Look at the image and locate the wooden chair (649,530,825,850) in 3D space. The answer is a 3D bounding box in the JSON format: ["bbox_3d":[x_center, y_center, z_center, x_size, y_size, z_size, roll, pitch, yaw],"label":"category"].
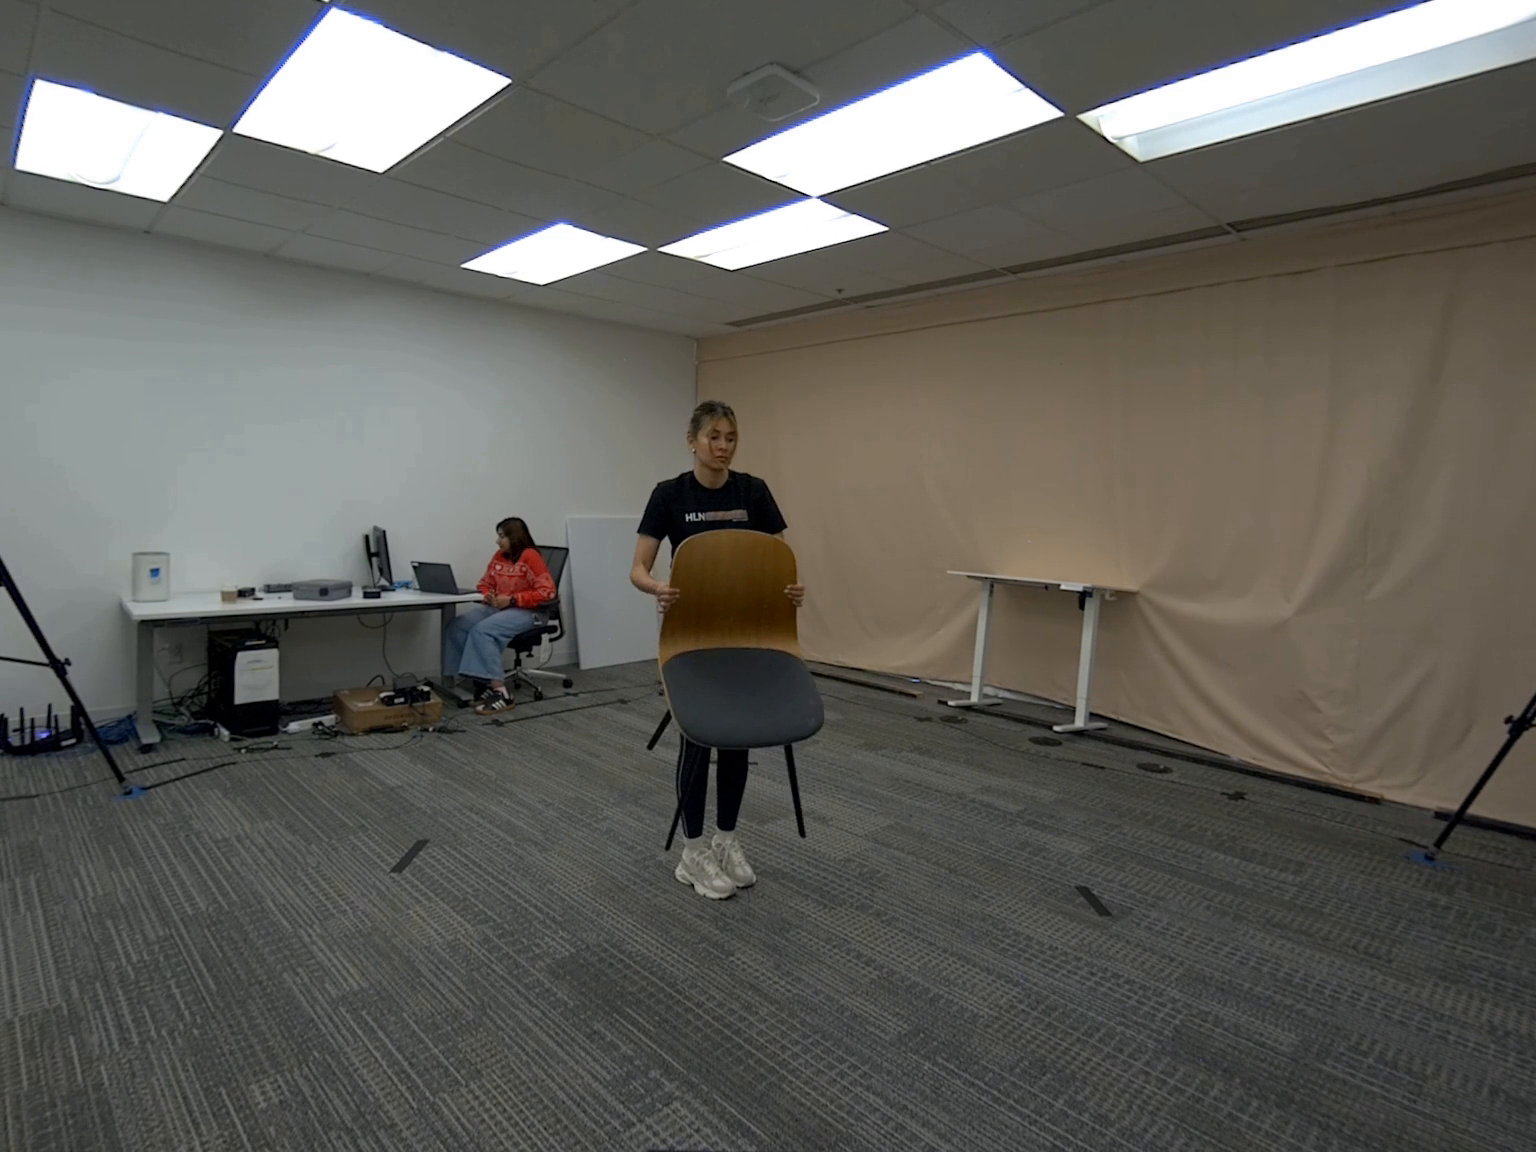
[{"bbox_3d":[-0.100,0.370,2.604,0.473,0.864,0.537,0,26,-15],"label":"wooden chair"}]
